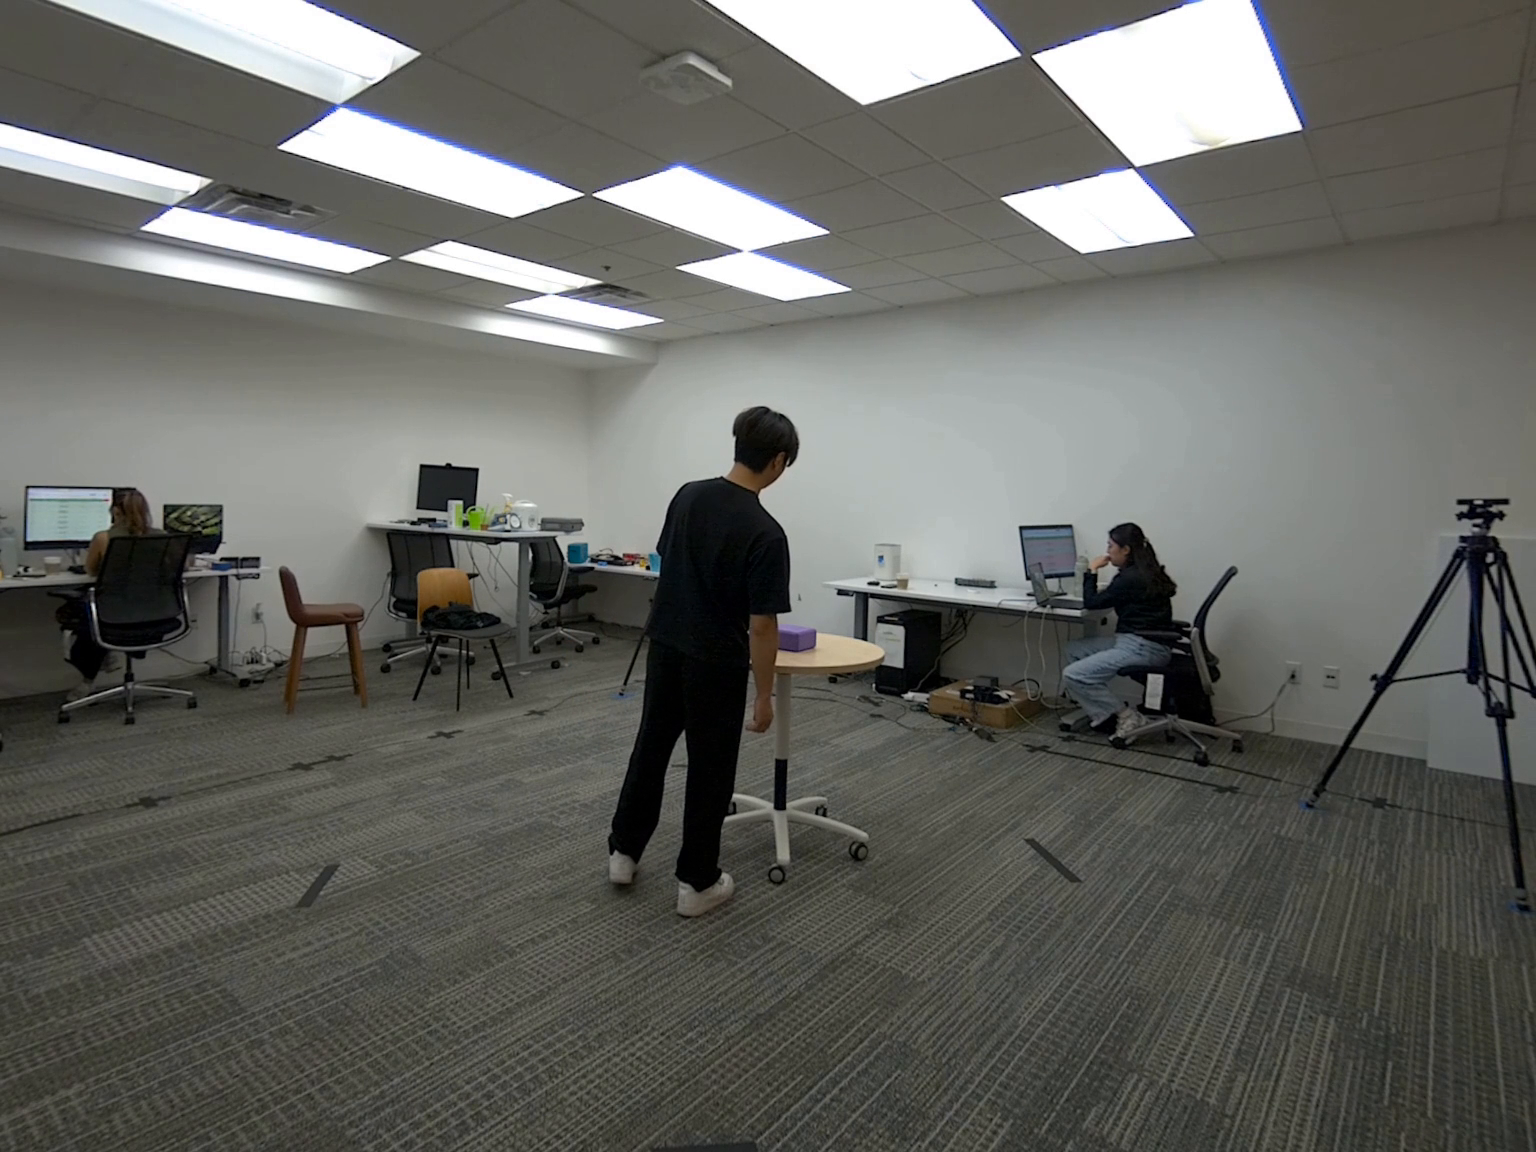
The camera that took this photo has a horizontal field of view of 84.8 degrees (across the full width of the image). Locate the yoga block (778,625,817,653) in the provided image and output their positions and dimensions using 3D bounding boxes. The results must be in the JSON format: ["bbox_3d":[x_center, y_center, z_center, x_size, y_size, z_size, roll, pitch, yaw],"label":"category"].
[{"bbox_3d":[0.051,0.234,3.312,0.237,0.076,0.145,5,5,35],"label":"yoga block"}]
